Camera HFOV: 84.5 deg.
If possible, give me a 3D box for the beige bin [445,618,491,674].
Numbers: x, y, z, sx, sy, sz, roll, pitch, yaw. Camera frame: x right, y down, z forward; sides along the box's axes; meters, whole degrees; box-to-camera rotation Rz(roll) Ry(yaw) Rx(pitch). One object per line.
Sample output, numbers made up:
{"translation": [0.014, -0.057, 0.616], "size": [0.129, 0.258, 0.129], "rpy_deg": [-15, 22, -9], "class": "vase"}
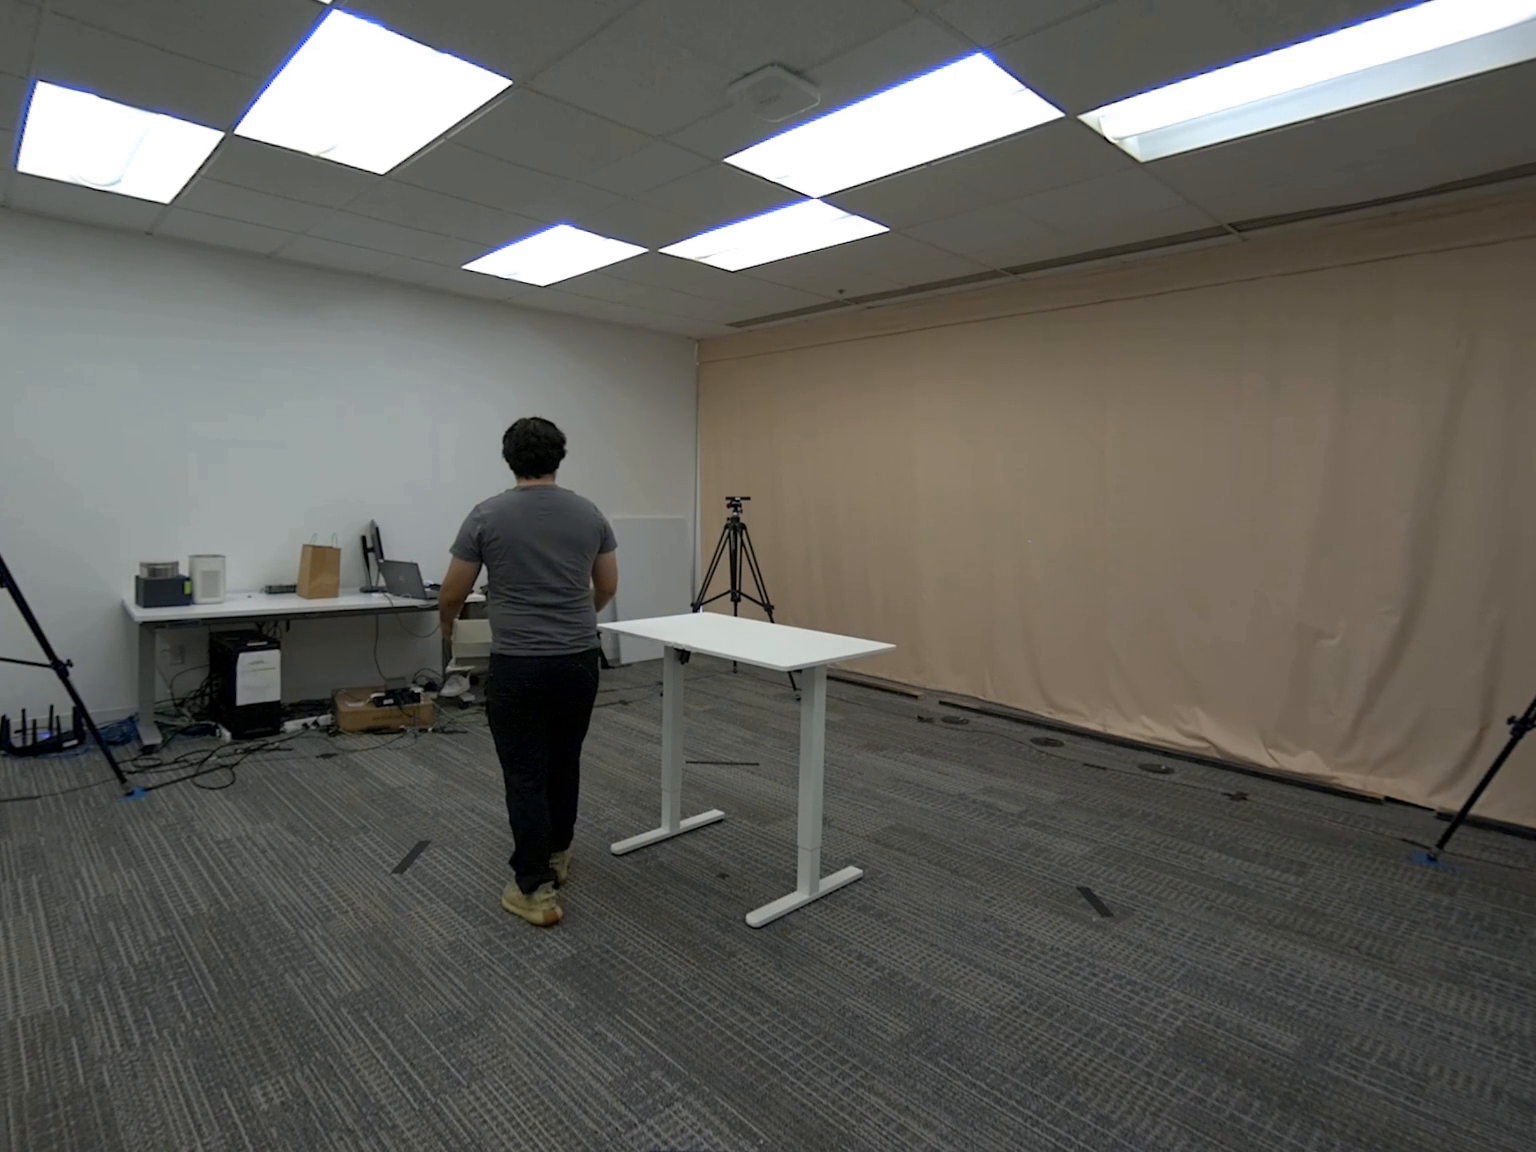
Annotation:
{"translation": [-0.981, 0.239, 3.176], "size": [0.416, 0.190, 0.381], "rpy_deg": [0, -5, -19], "class": "beige bin"}
